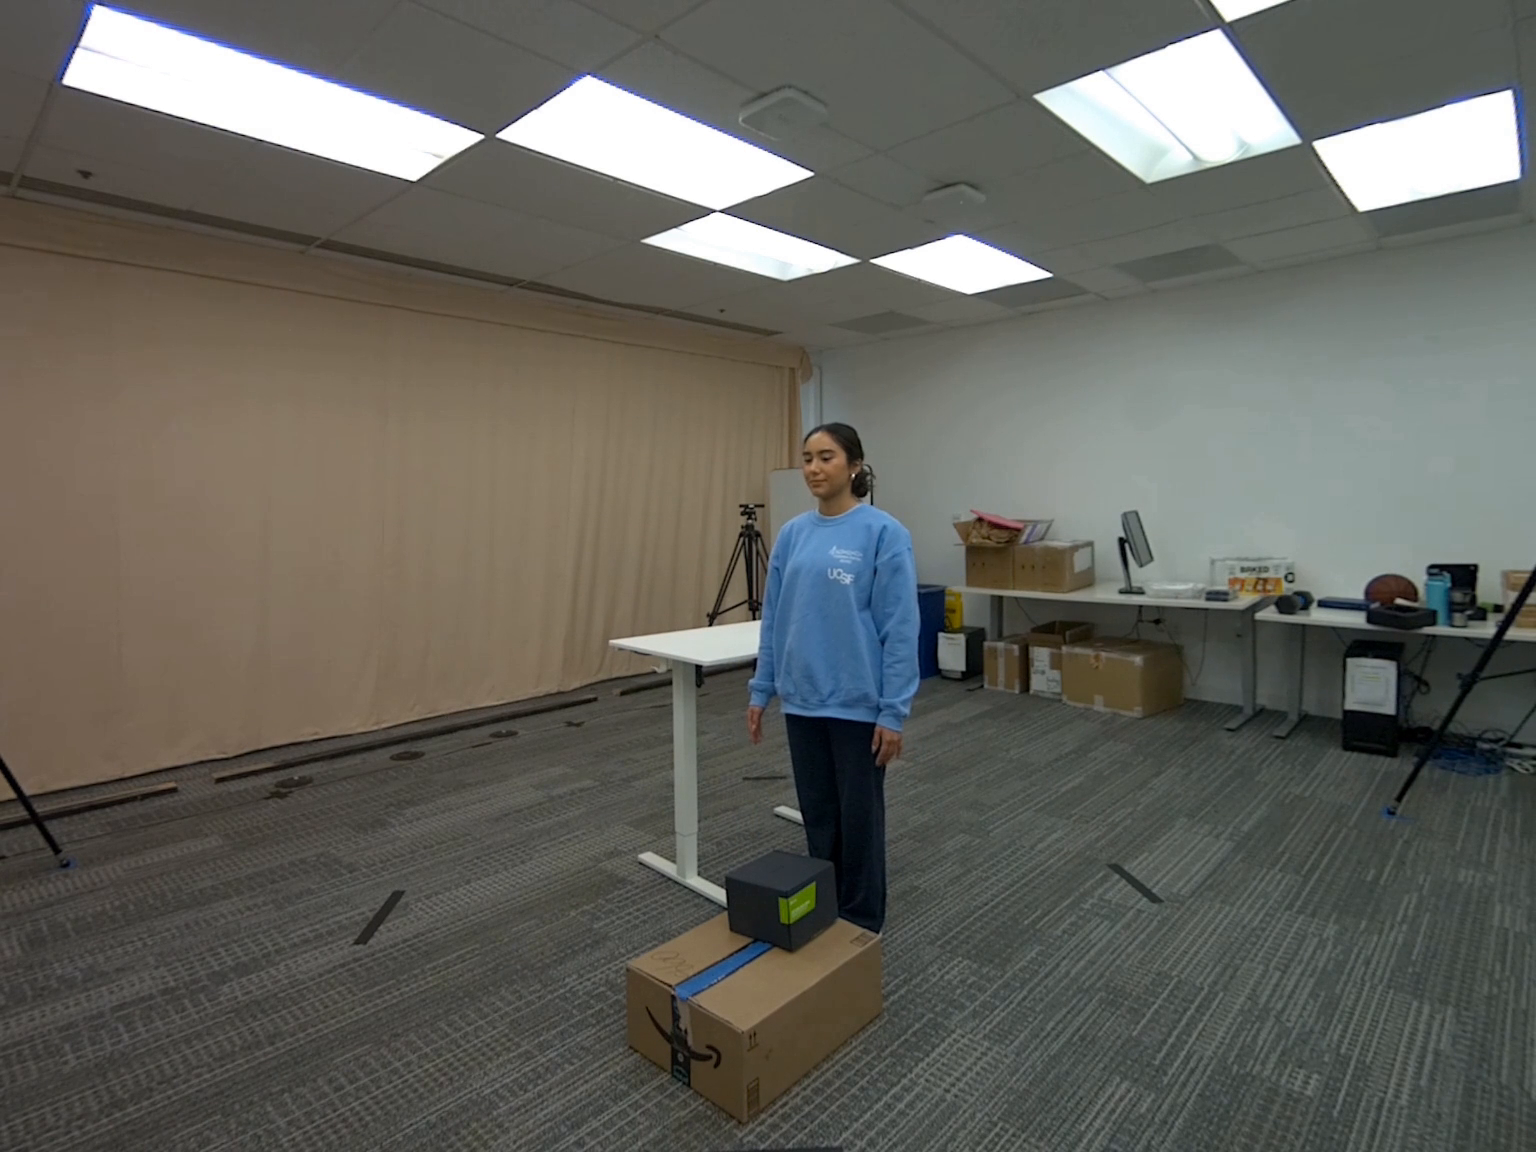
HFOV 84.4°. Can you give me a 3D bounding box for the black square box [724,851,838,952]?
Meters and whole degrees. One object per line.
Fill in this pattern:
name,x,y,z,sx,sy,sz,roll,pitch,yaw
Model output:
black square box,0.042,0.886,2.343,0.224,0.156,0.221,-2,2,39
